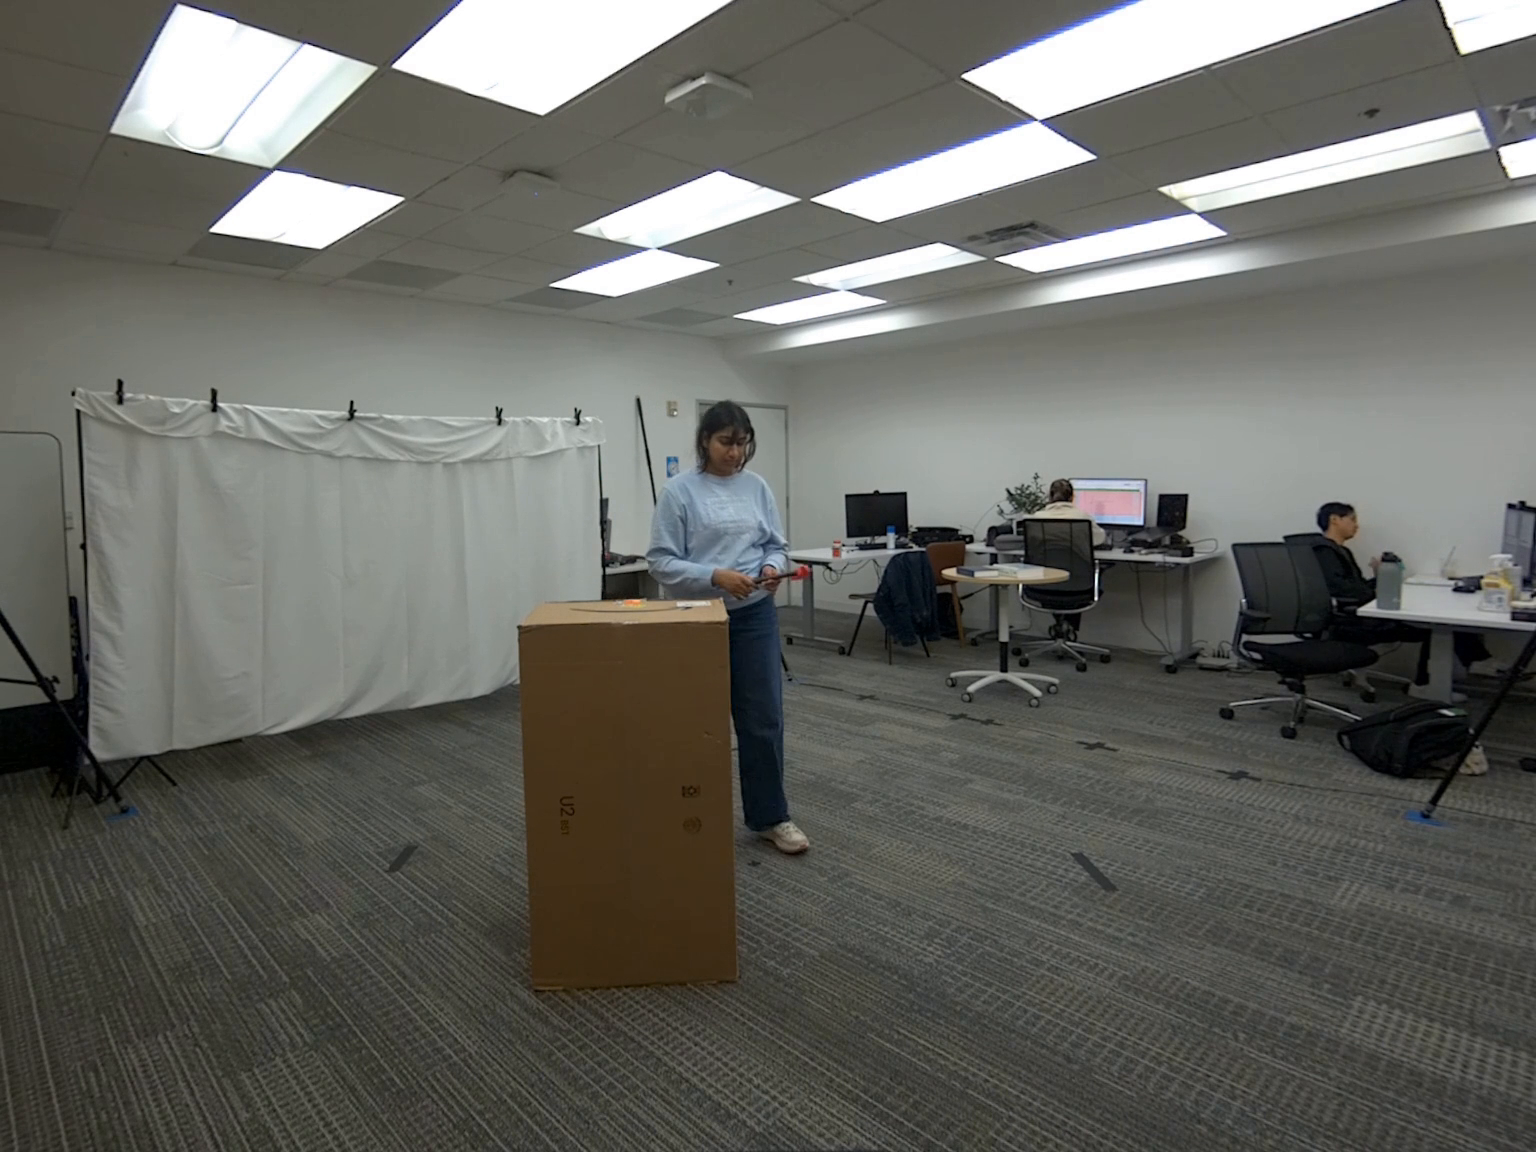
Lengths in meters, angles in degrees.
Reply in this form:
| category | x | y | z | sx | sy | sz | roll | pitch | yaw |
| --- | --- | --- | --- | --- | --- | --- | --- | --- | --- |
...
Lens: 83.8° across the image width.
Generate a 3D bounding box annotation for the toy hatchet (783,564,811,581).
| category | x | y | z | sx | sy | sz | roll | pitch | yaw |
| --- | --- | --- | --- | --- | --- | --- | --- | --- | --- |
| toy hatchet | -0.030 | 0.015 | 3.028 | 0.274 | 0.030 | 0.127 | -15 | -16 | 22 |
